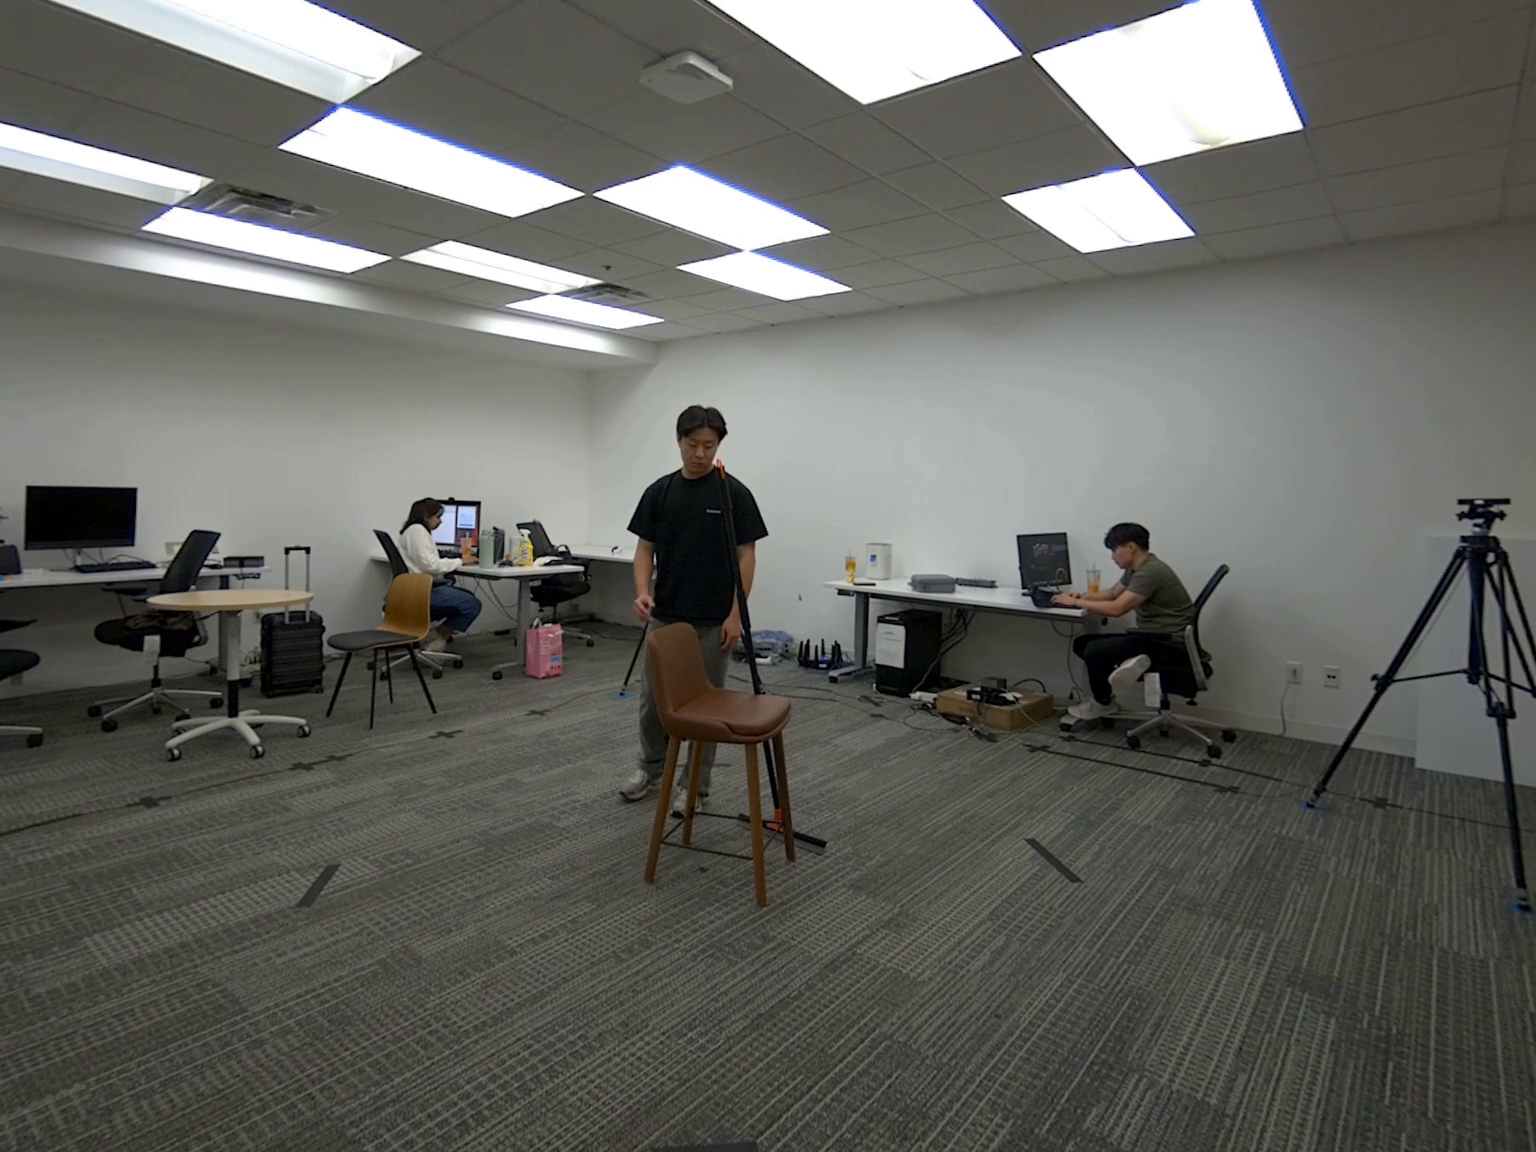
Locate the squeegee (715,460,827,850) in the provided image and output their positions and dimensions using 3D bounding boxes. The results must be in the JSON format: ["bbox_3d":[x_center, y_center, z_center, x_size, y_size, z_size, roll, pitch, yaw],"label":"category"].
[{"bbox_3d":[-0.060,0.306,3.241,0.052,1.518,0.452,-17,15,-40],"label":"squeegee"}]
